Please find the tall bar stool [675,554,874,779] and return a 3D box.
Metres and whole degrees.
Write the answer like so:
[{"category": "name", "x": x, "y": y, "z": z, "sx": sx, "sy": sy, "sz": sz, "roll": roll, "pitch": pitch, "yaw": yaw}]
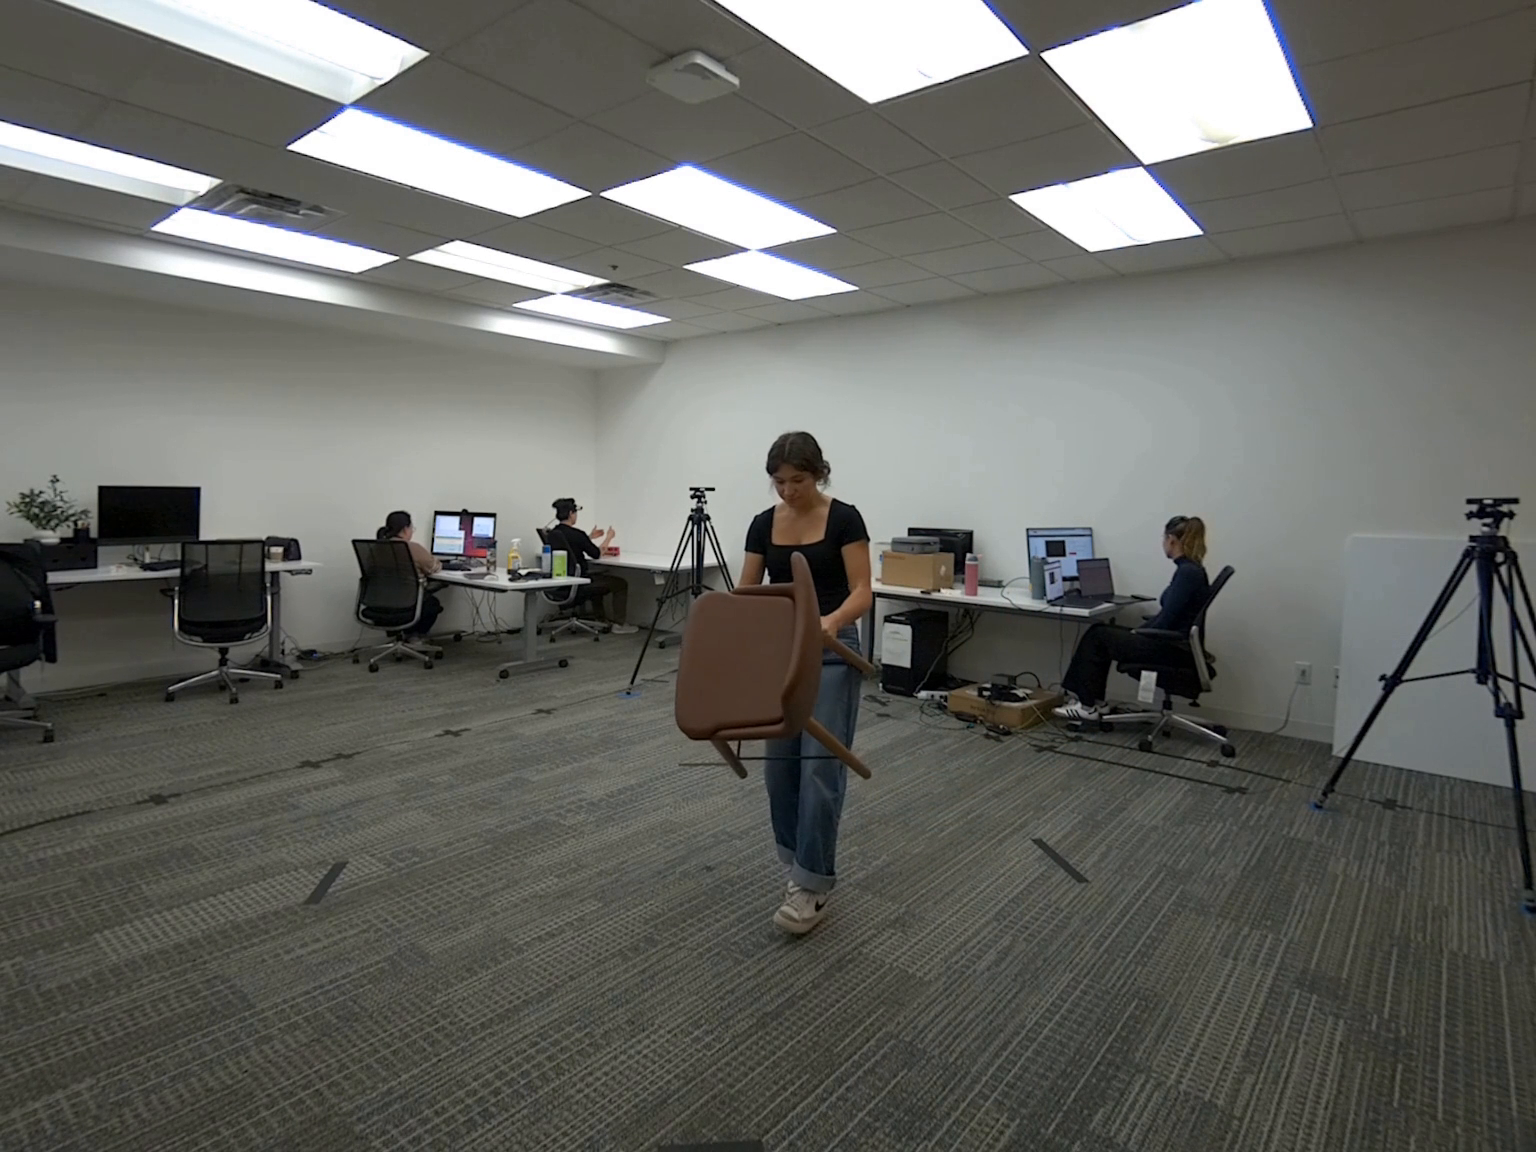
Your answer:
[{"category": "tall bar stool", "x": -0.005, "y": 0.307, "z": 2.534, "sx": 0.477, "sy": 0.465, "sz": 0.856, "roll": -1, "pitch": -27, "yaw": 18}]
